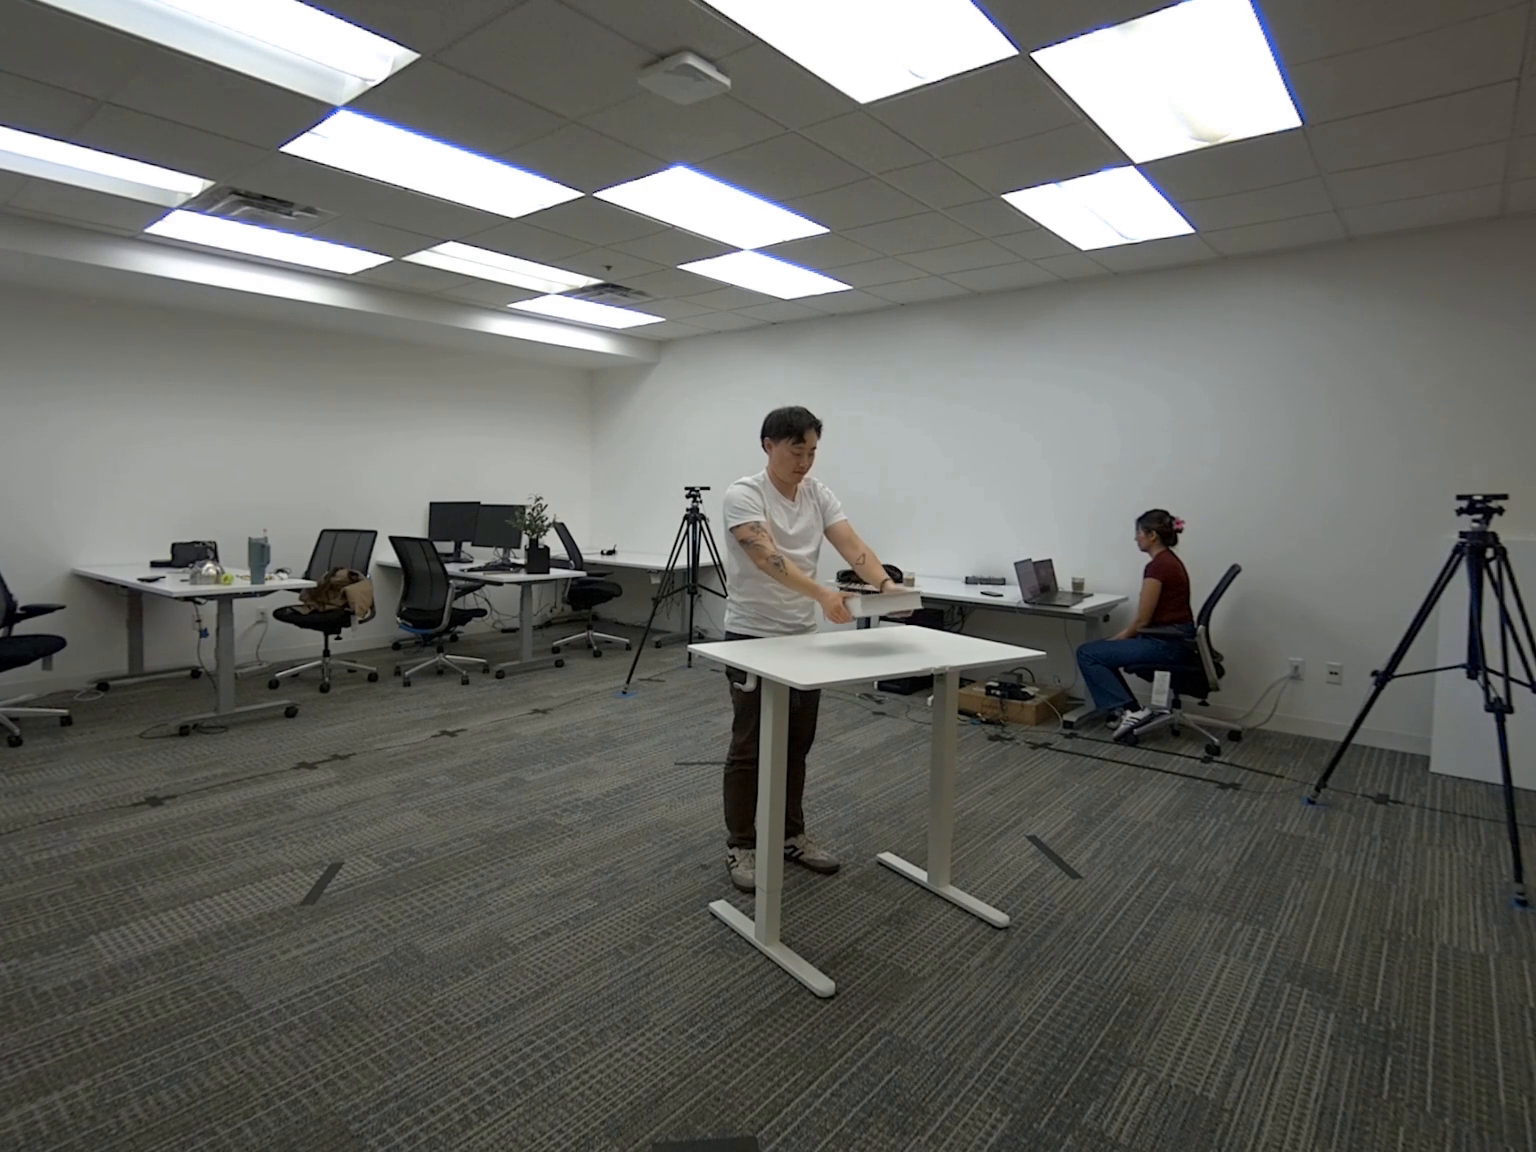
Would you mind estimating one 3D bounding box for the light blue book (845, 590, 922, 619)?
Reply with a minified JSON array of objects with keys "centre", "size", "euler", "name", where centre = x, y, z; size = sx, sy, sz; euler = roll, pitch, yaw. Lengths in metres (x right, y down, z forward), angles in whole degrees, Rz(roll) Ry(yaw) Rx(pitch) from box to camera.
[{"centre":[0.333,0.088,2.718],"size":[0.254,0.059,0.196],"euler":[-3,-5,-34],"name":"light blue book"}]
